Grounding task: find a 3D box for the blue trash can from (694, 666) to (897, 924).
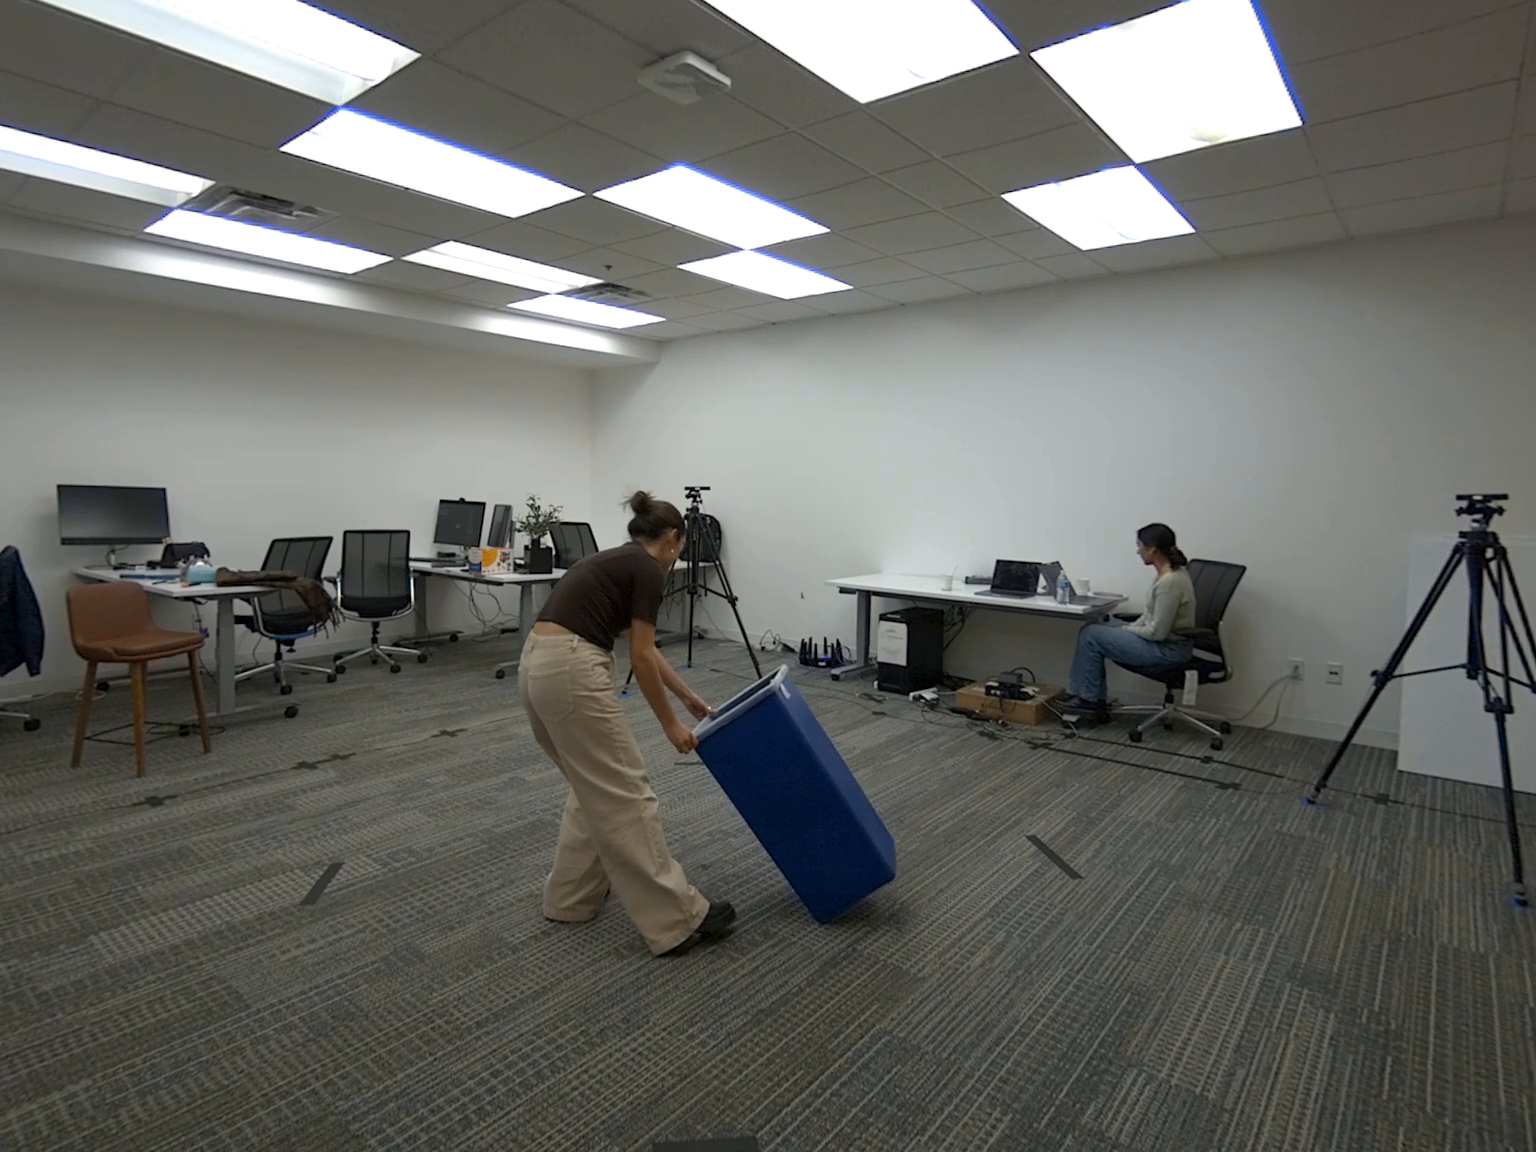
[{"bbox_3d":[0.087,0.720,2.860,0.375,0.719,0.374,-34,-5,9],"label":"blue trash can"}]
